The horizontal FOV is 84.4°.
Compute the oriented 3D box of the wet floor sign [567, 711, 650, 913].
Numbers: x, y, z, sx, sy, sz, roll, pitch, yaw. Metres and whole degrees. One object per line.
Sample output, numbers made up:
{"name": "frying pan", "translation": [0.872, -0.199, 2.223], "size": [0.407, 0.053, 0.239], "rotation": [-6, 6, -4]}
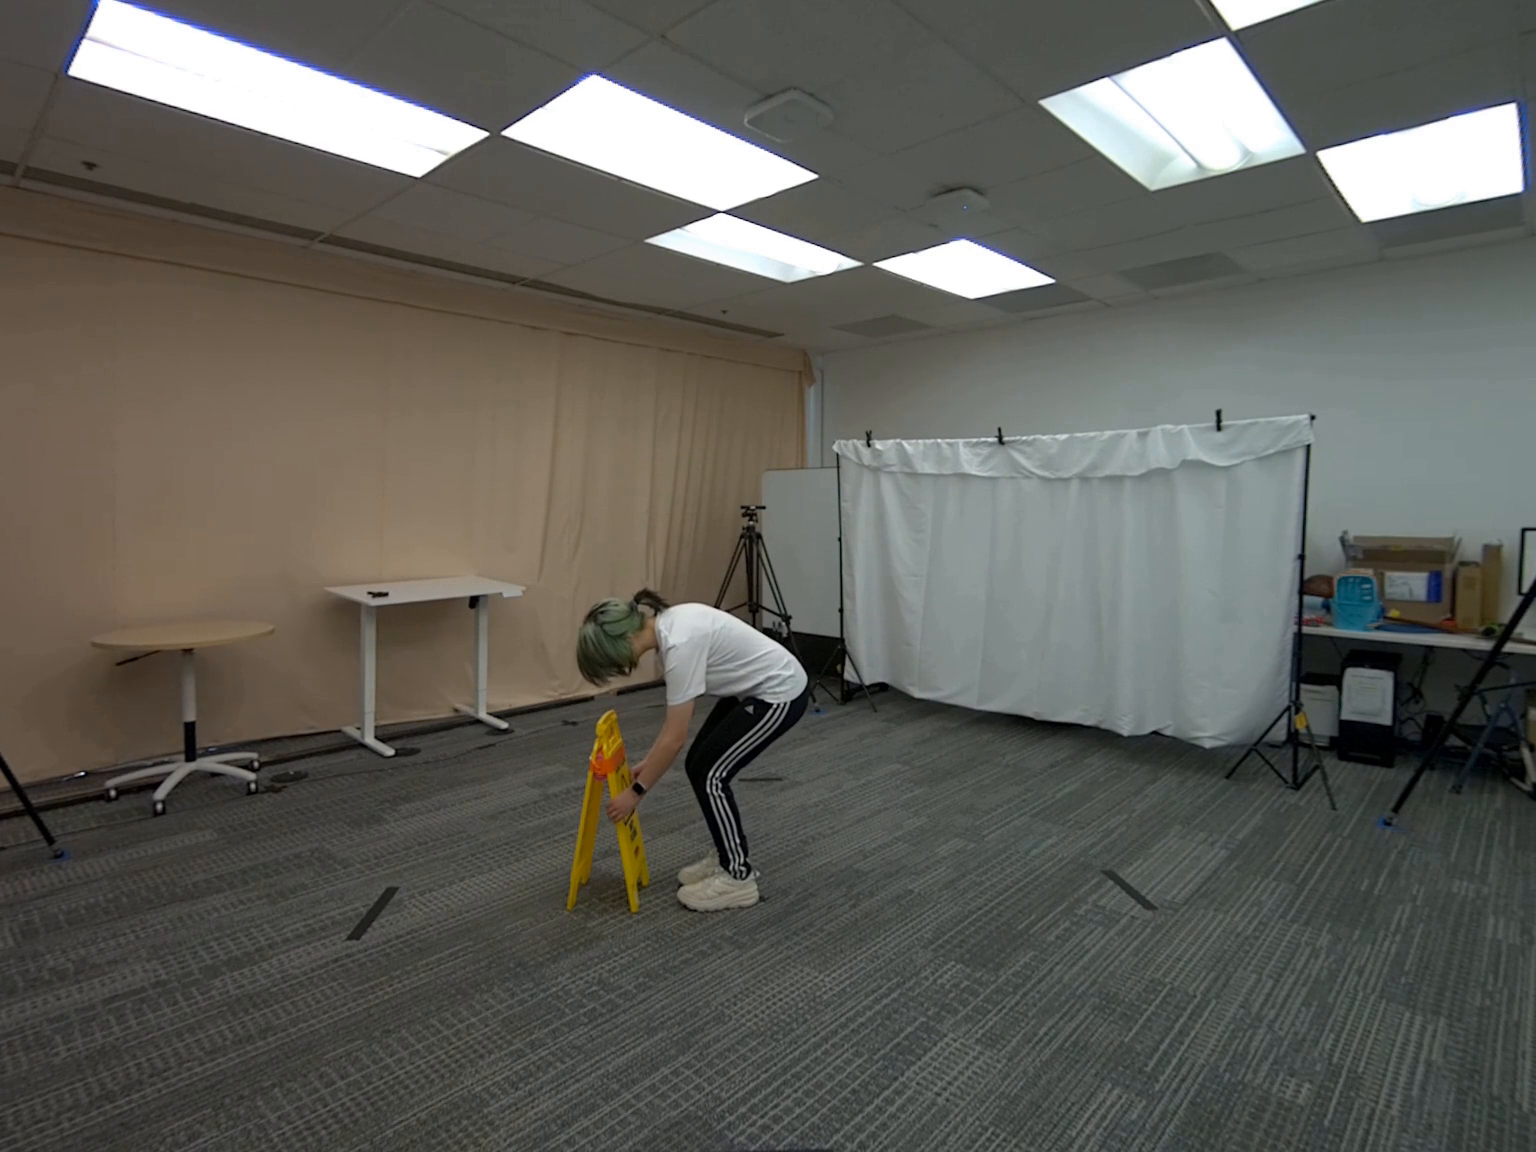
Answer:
{"name": "wet floor sign", "translation": [-0.575, 0.824, 3.017], "size": [0.291, 0.645, 0.281], "rotation": [-1, 2, 3]}
